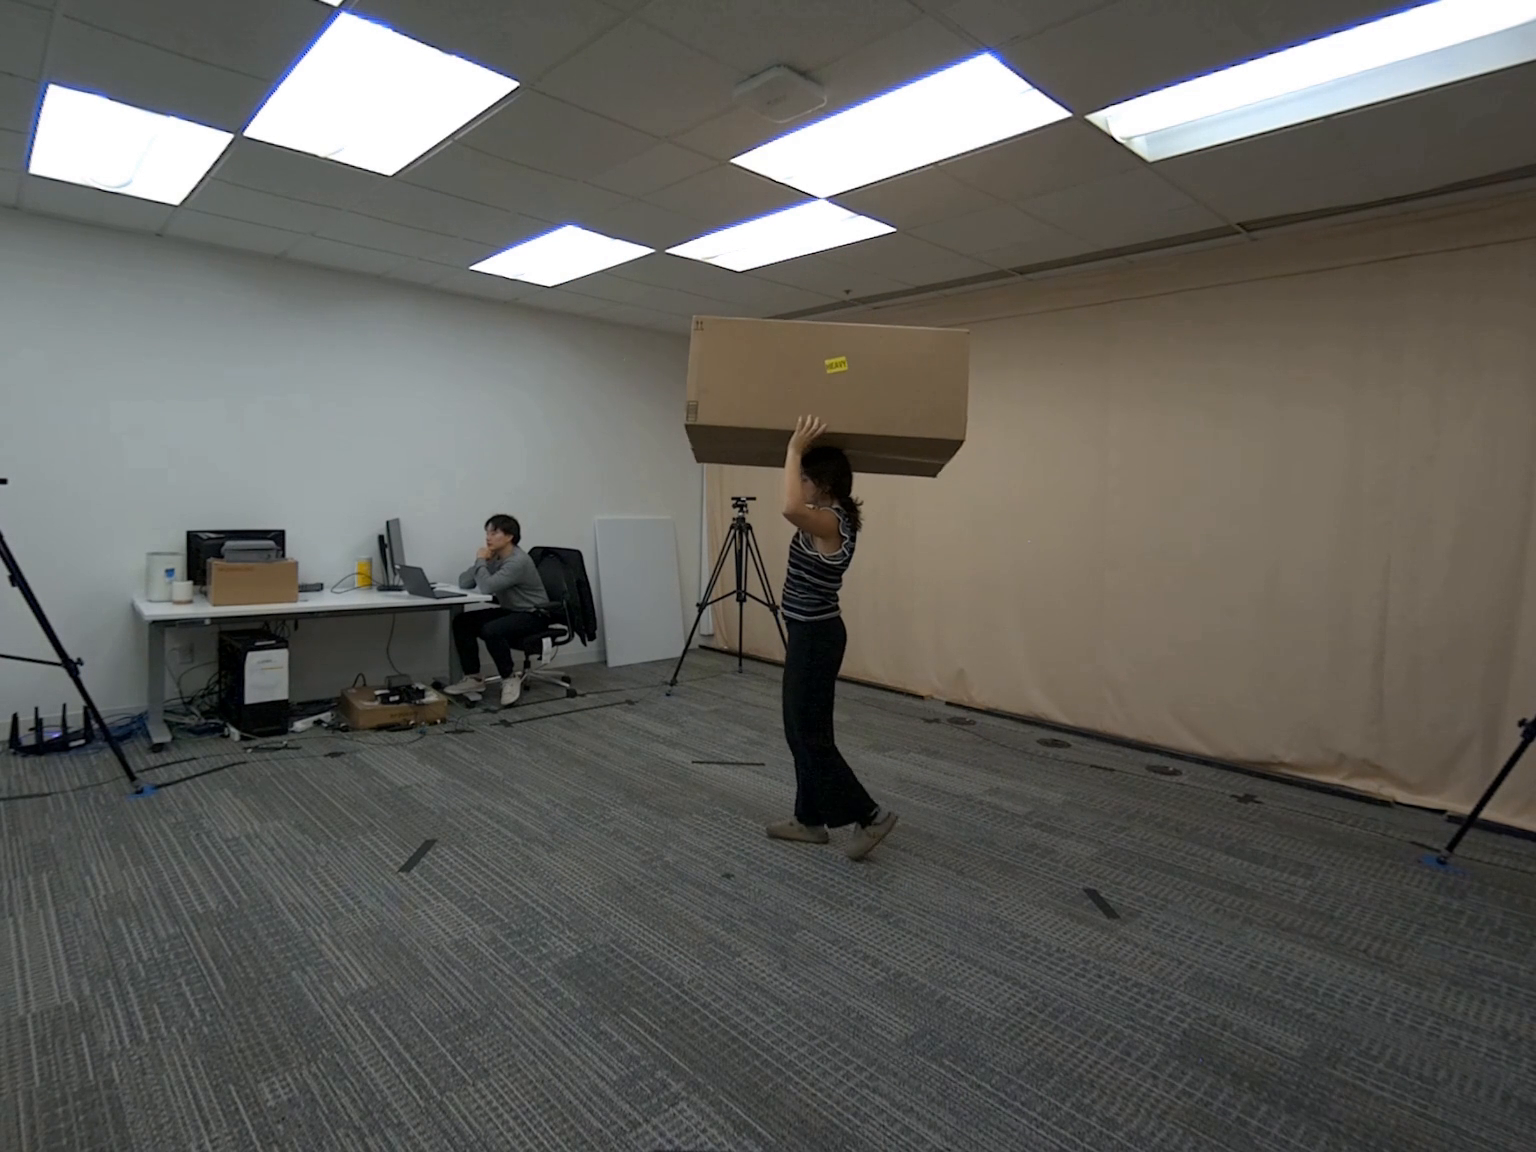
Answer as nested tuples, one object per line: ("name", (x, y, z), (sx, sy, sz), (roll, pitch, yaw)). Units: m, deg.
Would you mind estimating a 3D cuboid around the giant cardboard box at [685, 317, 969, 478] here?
("giant cardboard box", (0.208, -0.694, 3.350), (1.029, 0.428, 0.572), (5, -8, 4))
